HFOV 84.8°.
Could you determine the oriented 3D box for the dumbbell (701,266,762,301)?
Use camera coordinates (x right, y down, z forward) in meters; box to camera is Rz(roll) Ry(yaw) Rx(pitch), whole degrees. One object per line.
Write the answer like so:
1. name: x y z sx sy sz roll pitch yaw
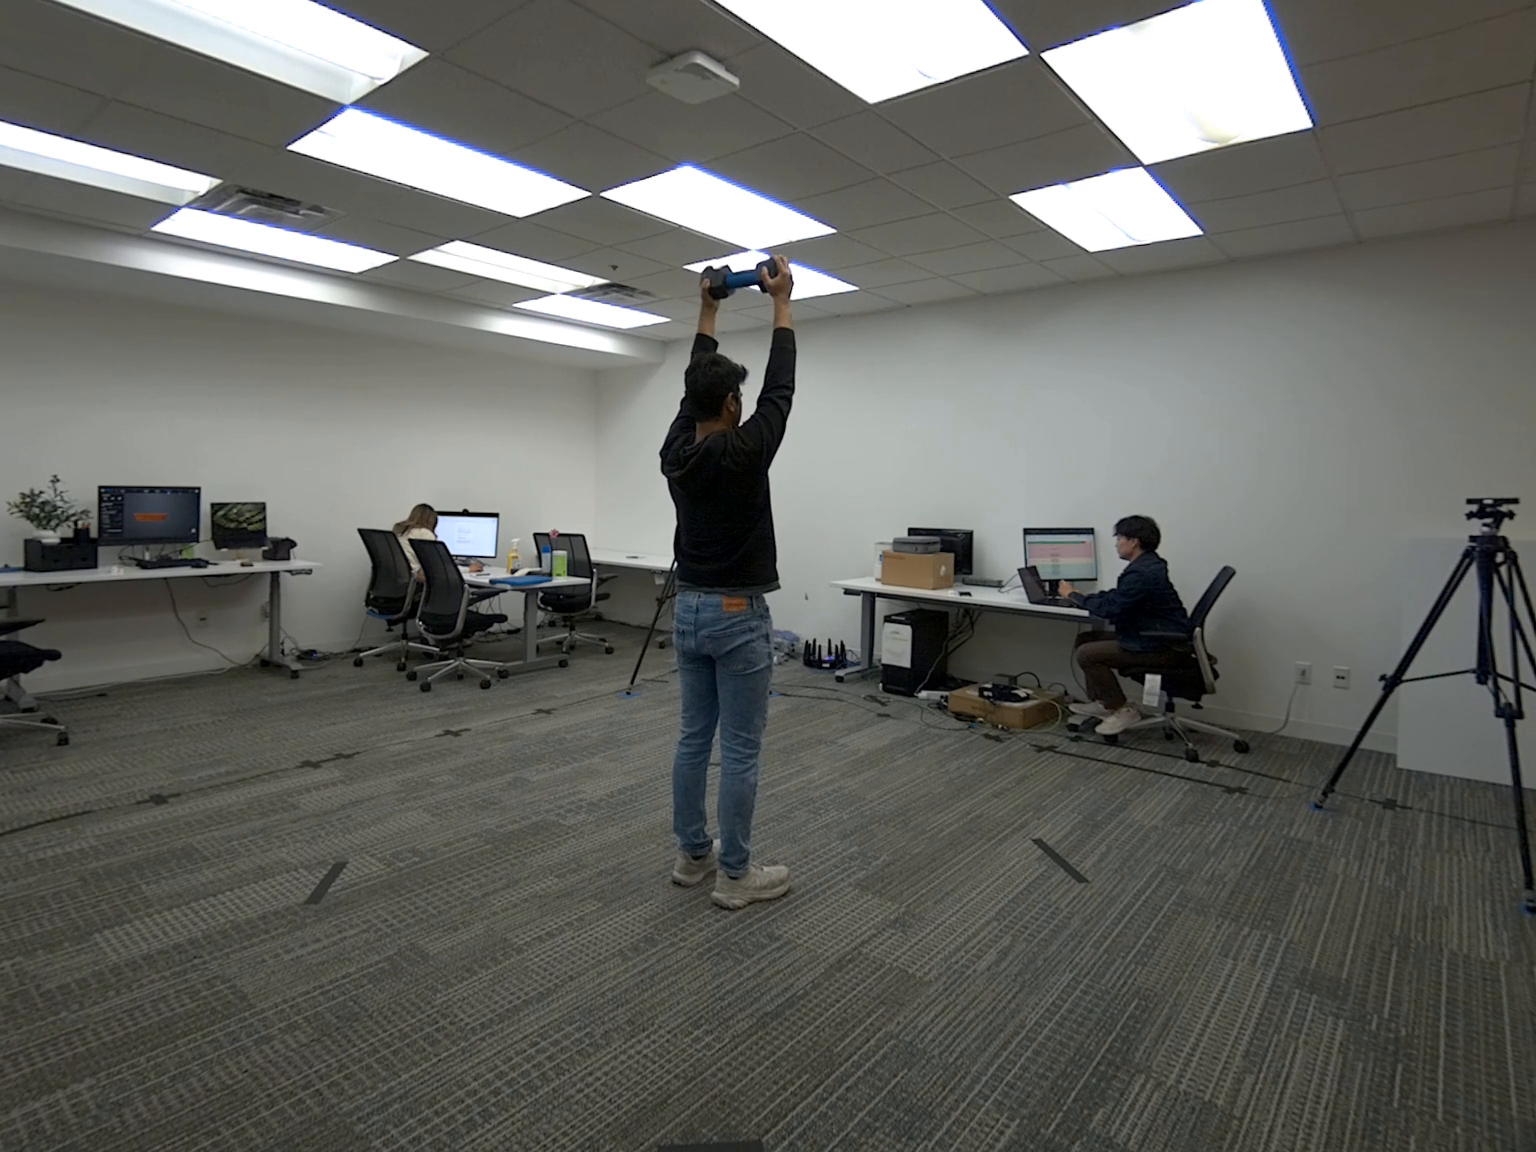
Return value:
1. dumbbell: -0.090 -1.038 2.971 0.302 0.110 0.118 3 -21 33
